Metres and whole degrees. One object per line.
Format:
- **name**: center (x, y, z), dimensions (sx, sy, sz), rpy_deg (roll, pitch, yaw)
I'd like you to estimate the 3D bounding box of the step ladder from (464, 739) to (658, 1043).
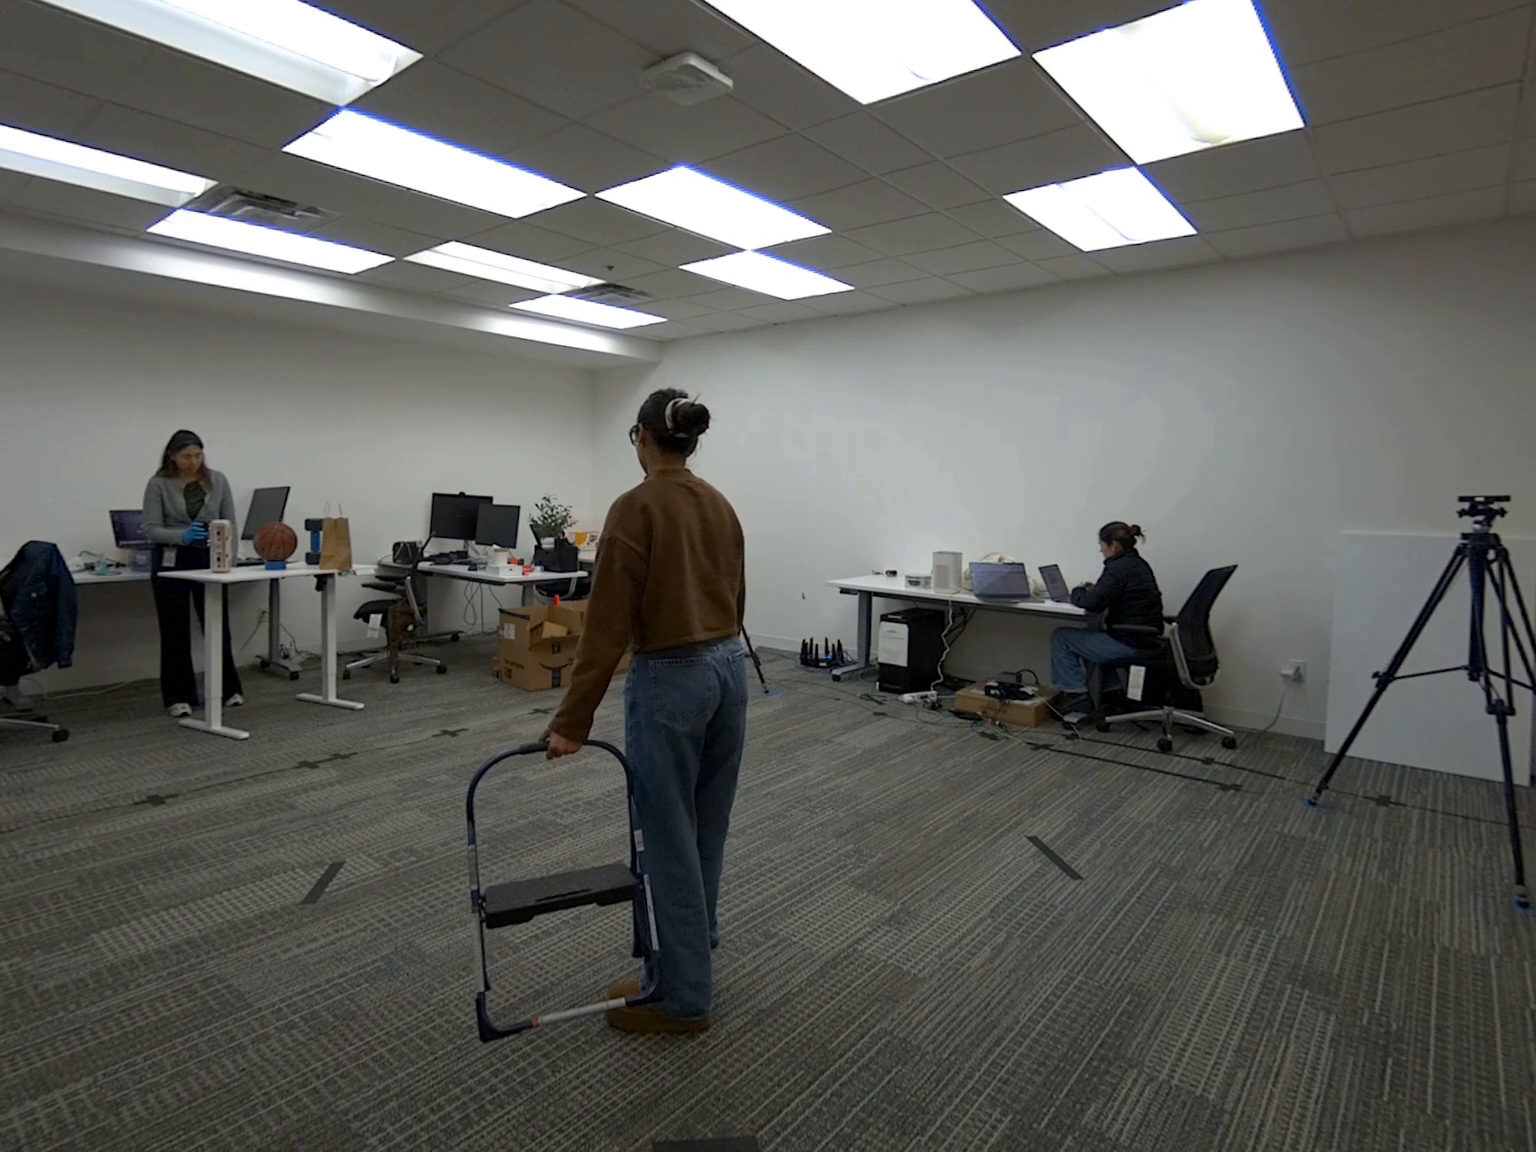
- **step ladder**: center (-0.533, 0.716, 2.072), dimensions (0.423, 0.610, 0.353), rpy_deg (-6, -6, -19)
